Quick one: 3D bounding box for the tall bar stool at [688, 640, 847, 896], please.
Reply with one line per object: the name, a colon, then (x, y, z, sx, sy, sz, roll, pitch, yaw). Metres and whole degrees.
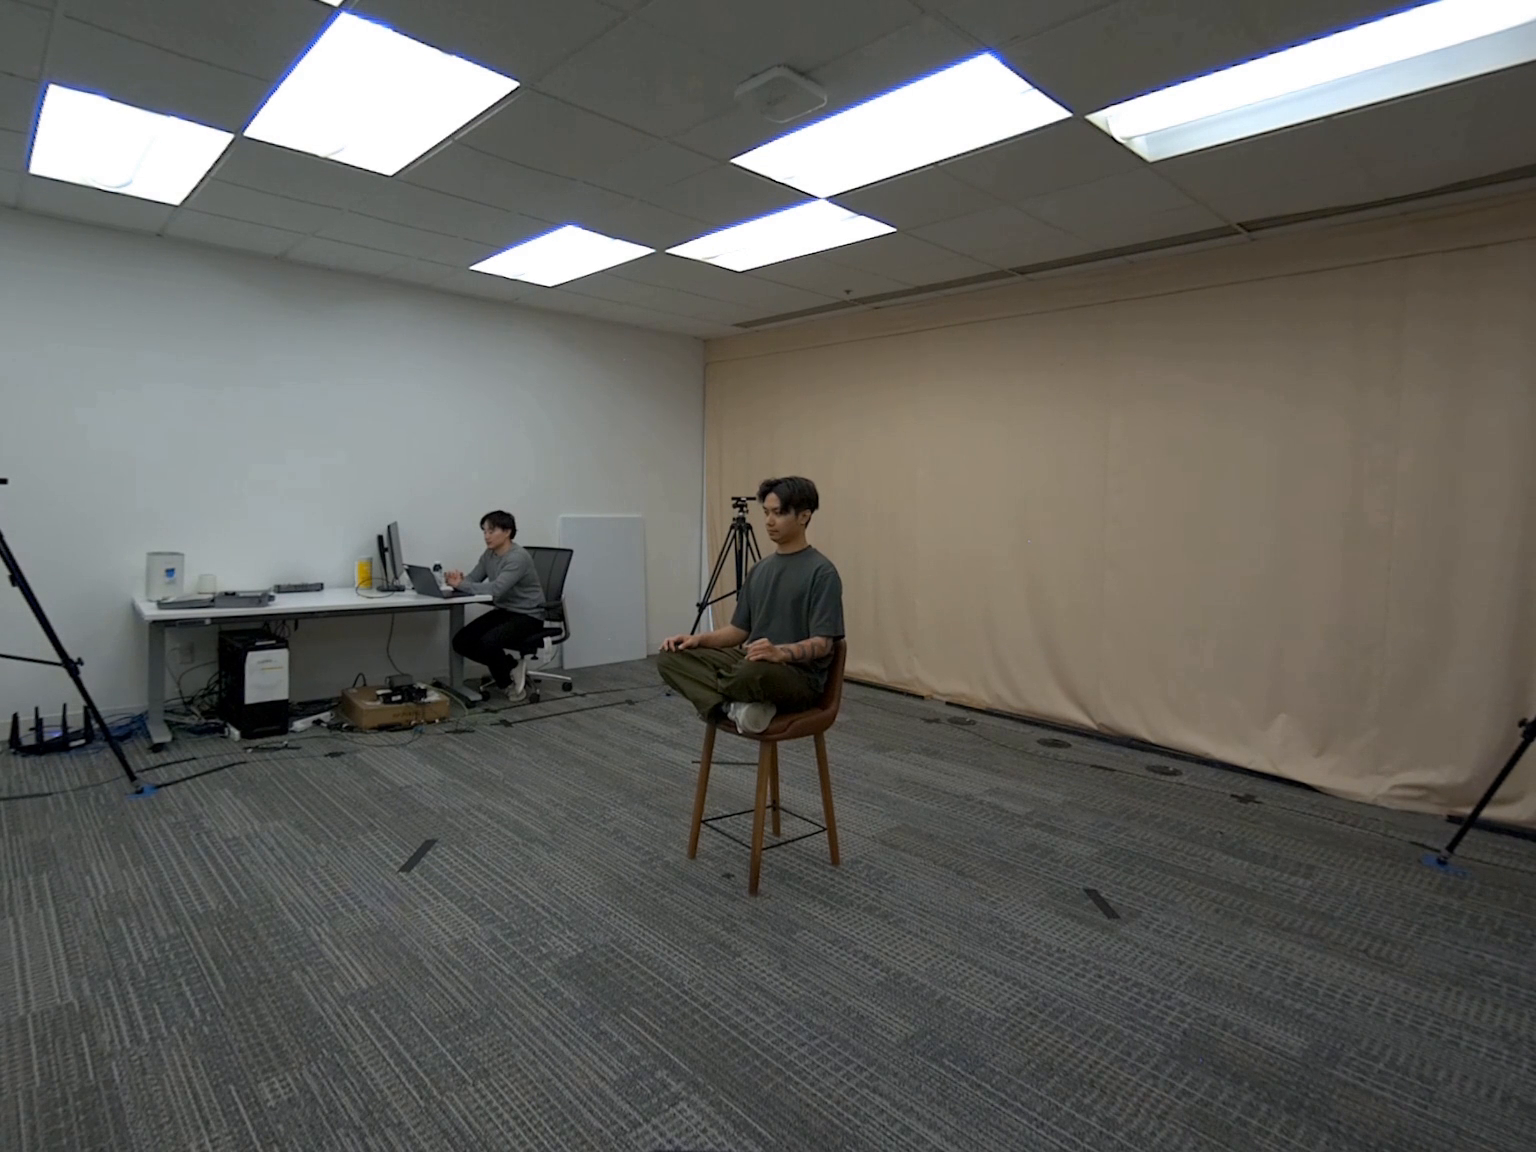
tall bar stool: (0.003, 0.665, 3.220, 0.456, 0.889, 0.468, 2, 2, -39)
